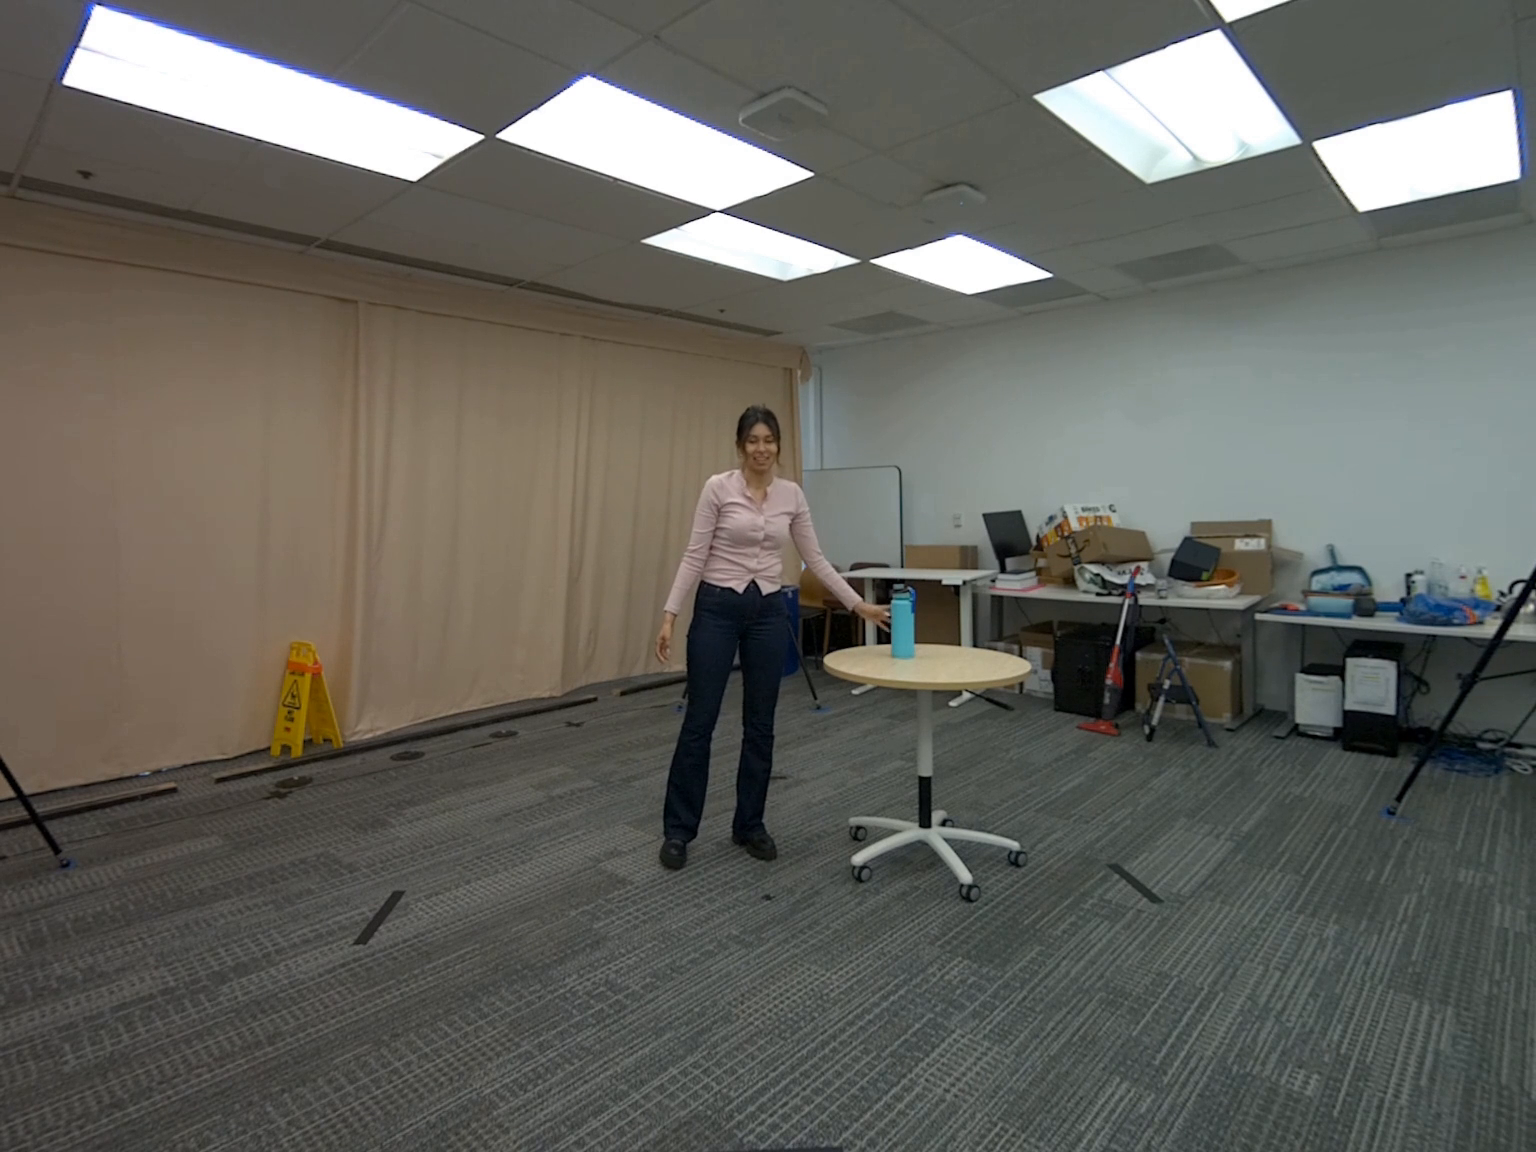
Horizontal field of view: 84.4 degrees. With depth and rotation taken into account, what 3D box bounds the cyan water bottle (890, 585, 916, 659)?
[{"bbox_3d":[0.533,0.177,3.298,0.092,0.282,0.093,0,5,-2],"label":"cyan water bottle"}]
